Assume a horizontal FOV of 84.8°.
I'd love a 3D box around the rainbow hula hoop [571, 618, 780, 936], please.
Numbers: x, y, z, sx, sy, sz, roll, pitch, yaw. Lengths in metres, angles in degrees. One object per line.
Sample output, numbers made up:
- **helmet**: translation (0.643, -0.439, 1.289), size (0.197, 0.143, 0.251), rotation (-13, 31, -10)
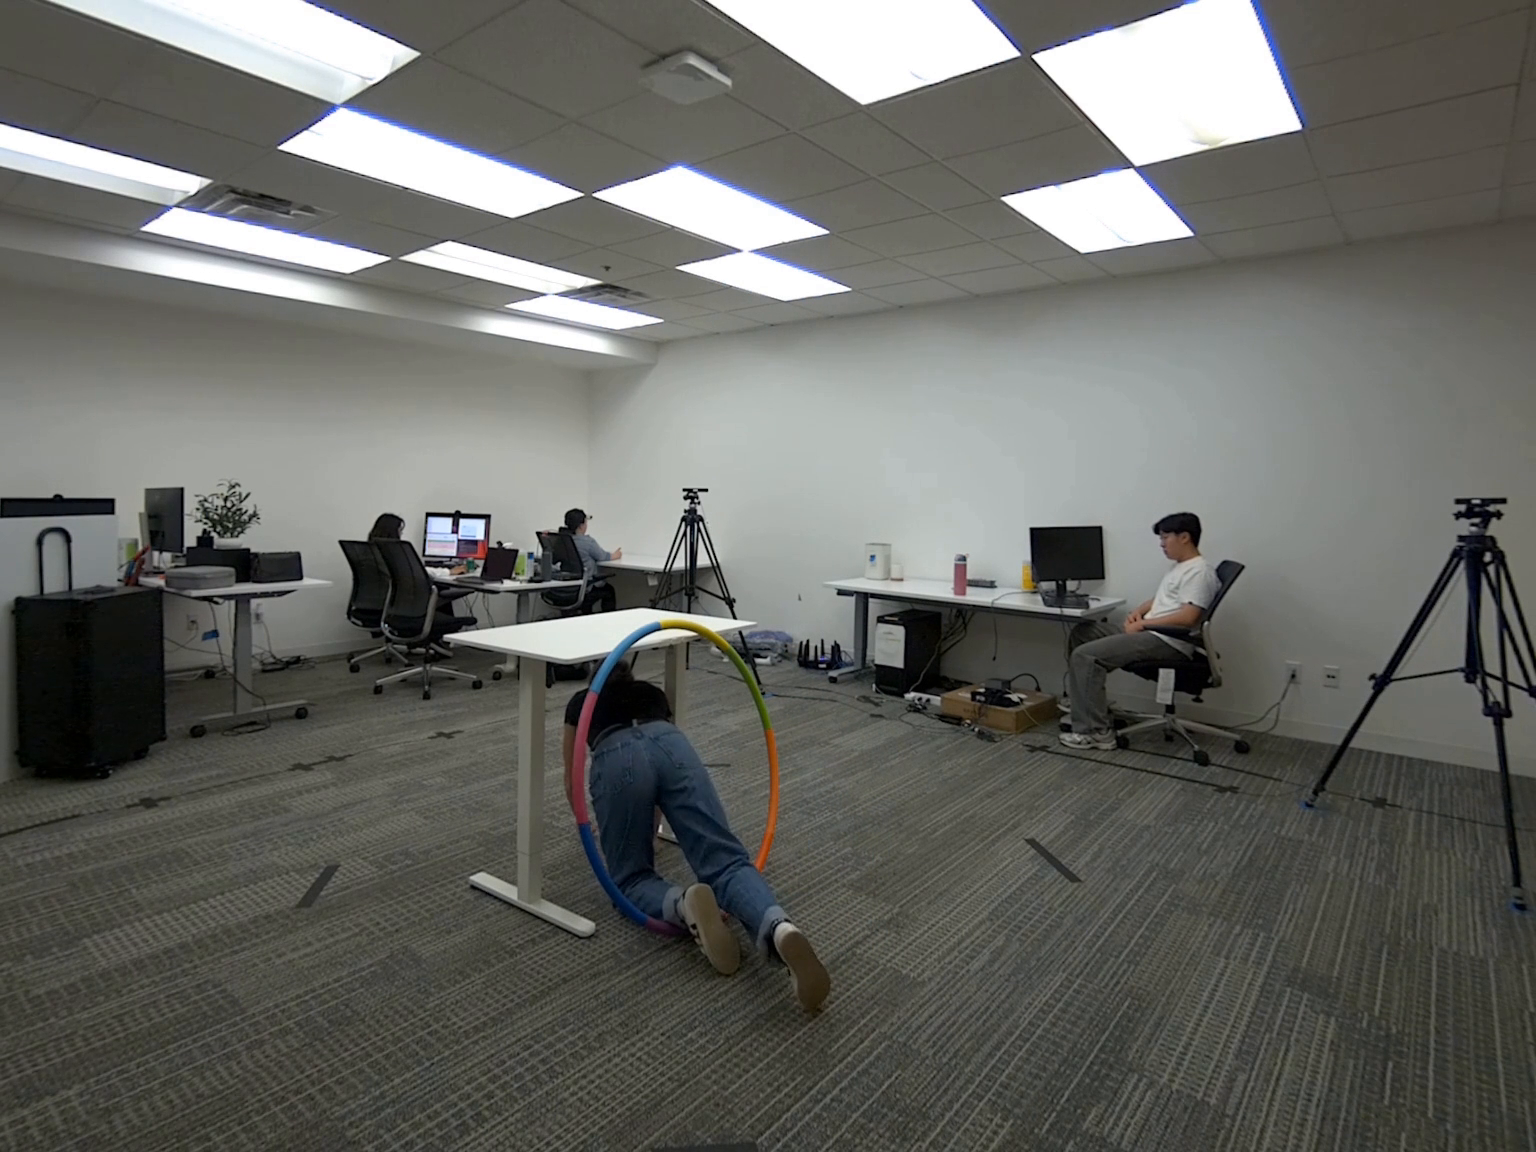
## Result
- **rainbow hula hoop**: translation (-0.255, 0.628, 2.760), size (0.036, 0.985, 0.951), rotation (-15, -6, 35)
